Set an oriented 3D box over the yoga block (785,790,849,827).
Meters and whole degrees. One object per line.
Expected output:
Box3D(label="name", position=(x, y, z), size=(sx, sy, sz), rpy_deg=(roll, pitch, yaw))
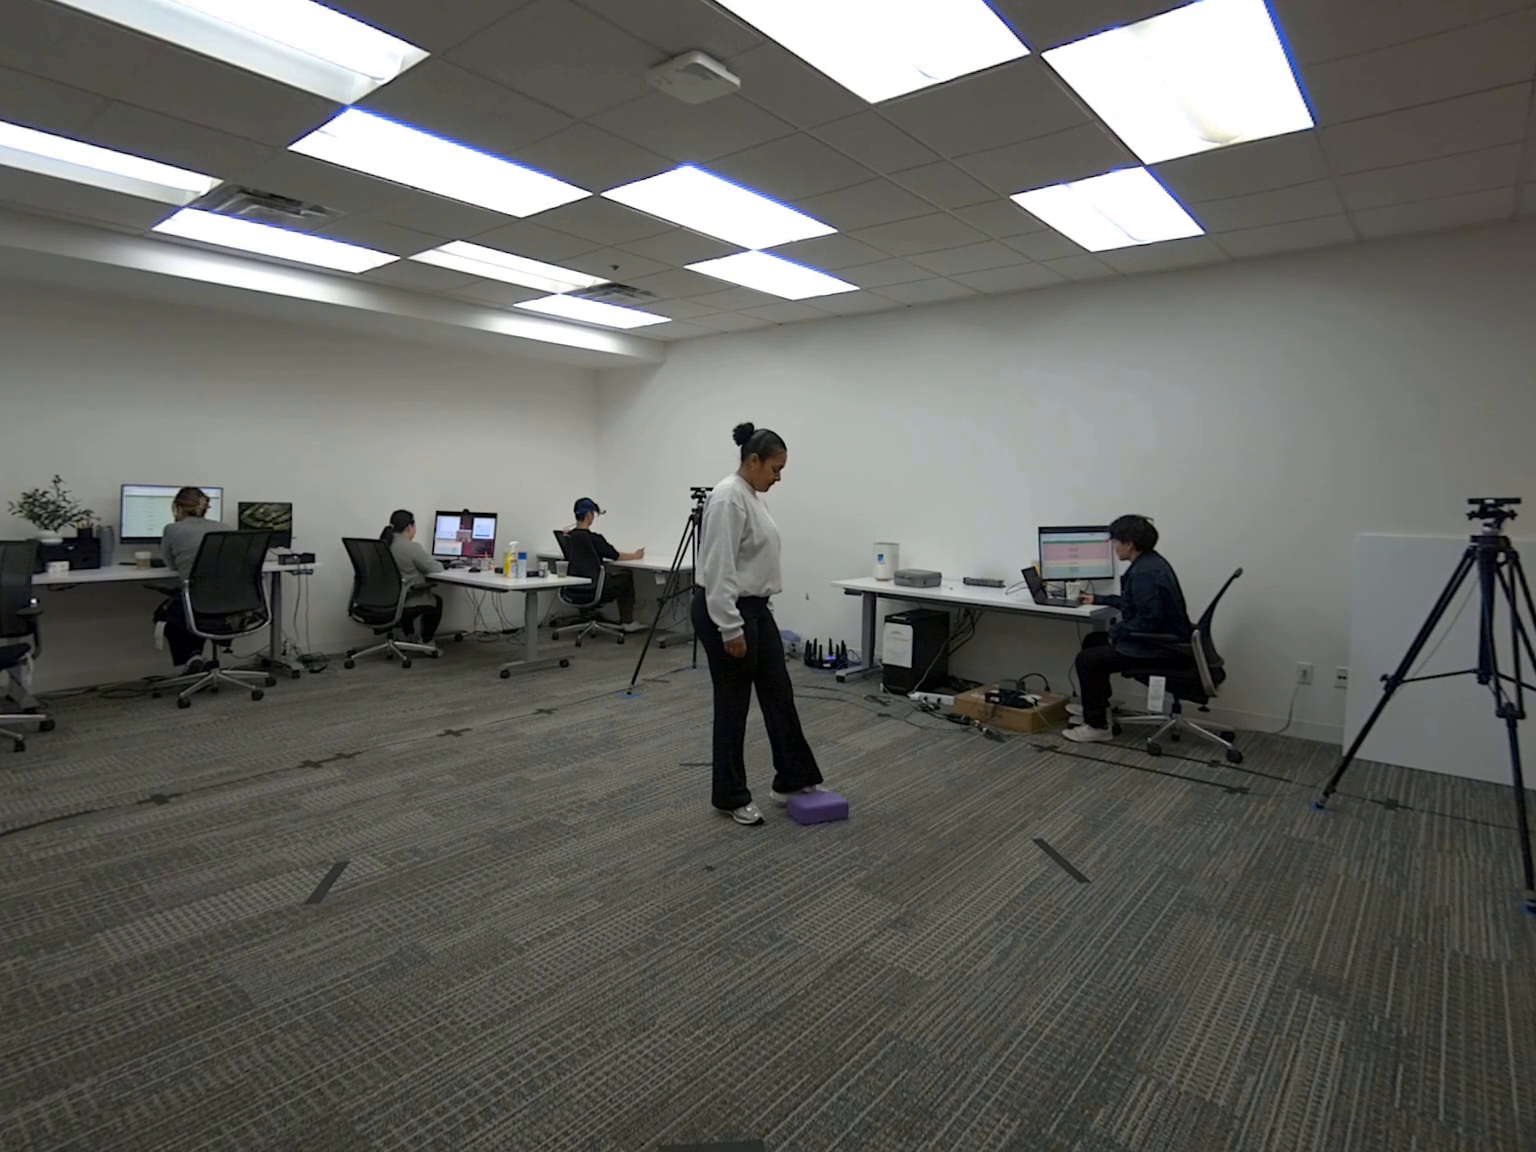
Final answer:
Box3D(label="yoga block", position=(0.201, 0.984, 3.614), size=(0.224, 0.076, 0.153), rpy_deg=(-2, 7, -27))
